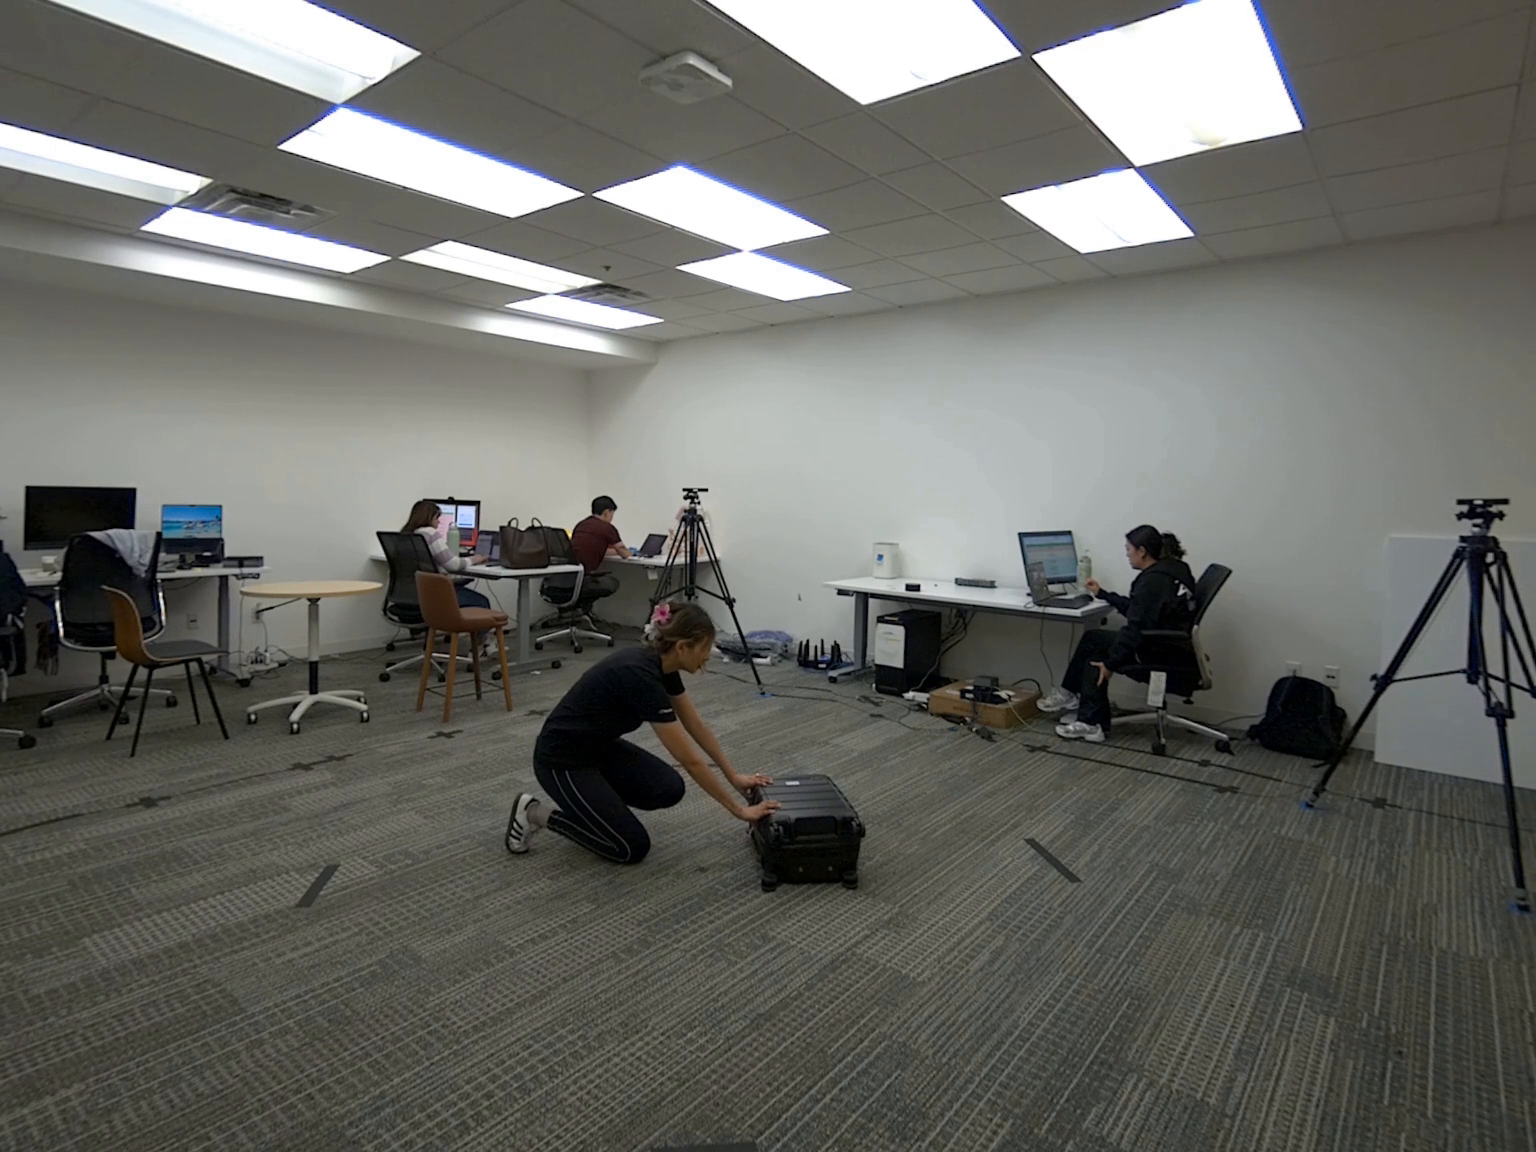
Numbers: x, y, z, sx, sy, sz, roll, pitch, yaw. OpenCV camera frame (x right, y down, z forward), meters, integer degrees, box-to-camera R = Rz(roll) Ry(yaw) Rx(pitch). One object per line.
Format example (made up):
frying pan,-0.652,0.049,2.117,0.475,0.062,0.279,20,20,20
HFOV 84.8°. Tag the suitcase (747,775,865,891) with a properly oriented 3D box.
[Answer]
suitcase,0.086,0.925,3.429,0.381,0.255,0.992,-1,7,-9
